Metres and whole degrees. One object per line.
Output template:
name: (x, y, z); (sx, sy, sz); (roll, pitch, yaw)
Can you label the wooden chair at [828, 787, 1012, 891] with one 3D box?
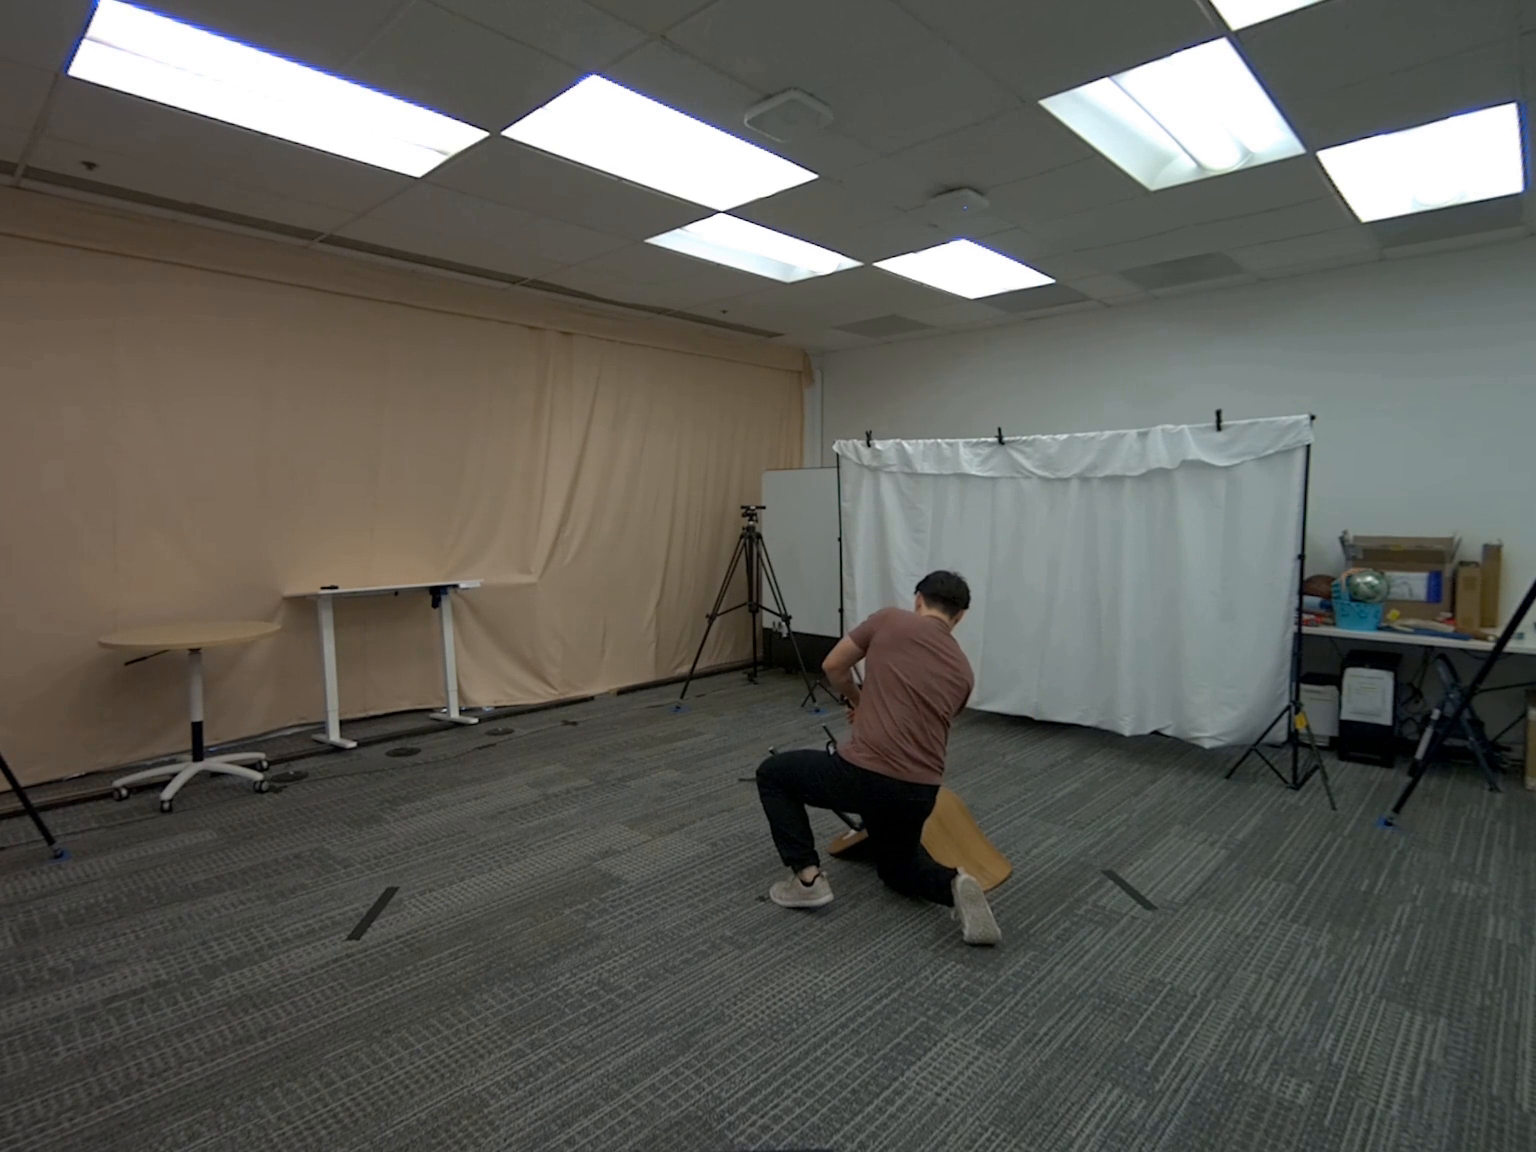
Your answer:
wooden chair: (0.491, 0.938, 3.411); (0.527, 0.896, 0.464); (-45, -22, 28)
